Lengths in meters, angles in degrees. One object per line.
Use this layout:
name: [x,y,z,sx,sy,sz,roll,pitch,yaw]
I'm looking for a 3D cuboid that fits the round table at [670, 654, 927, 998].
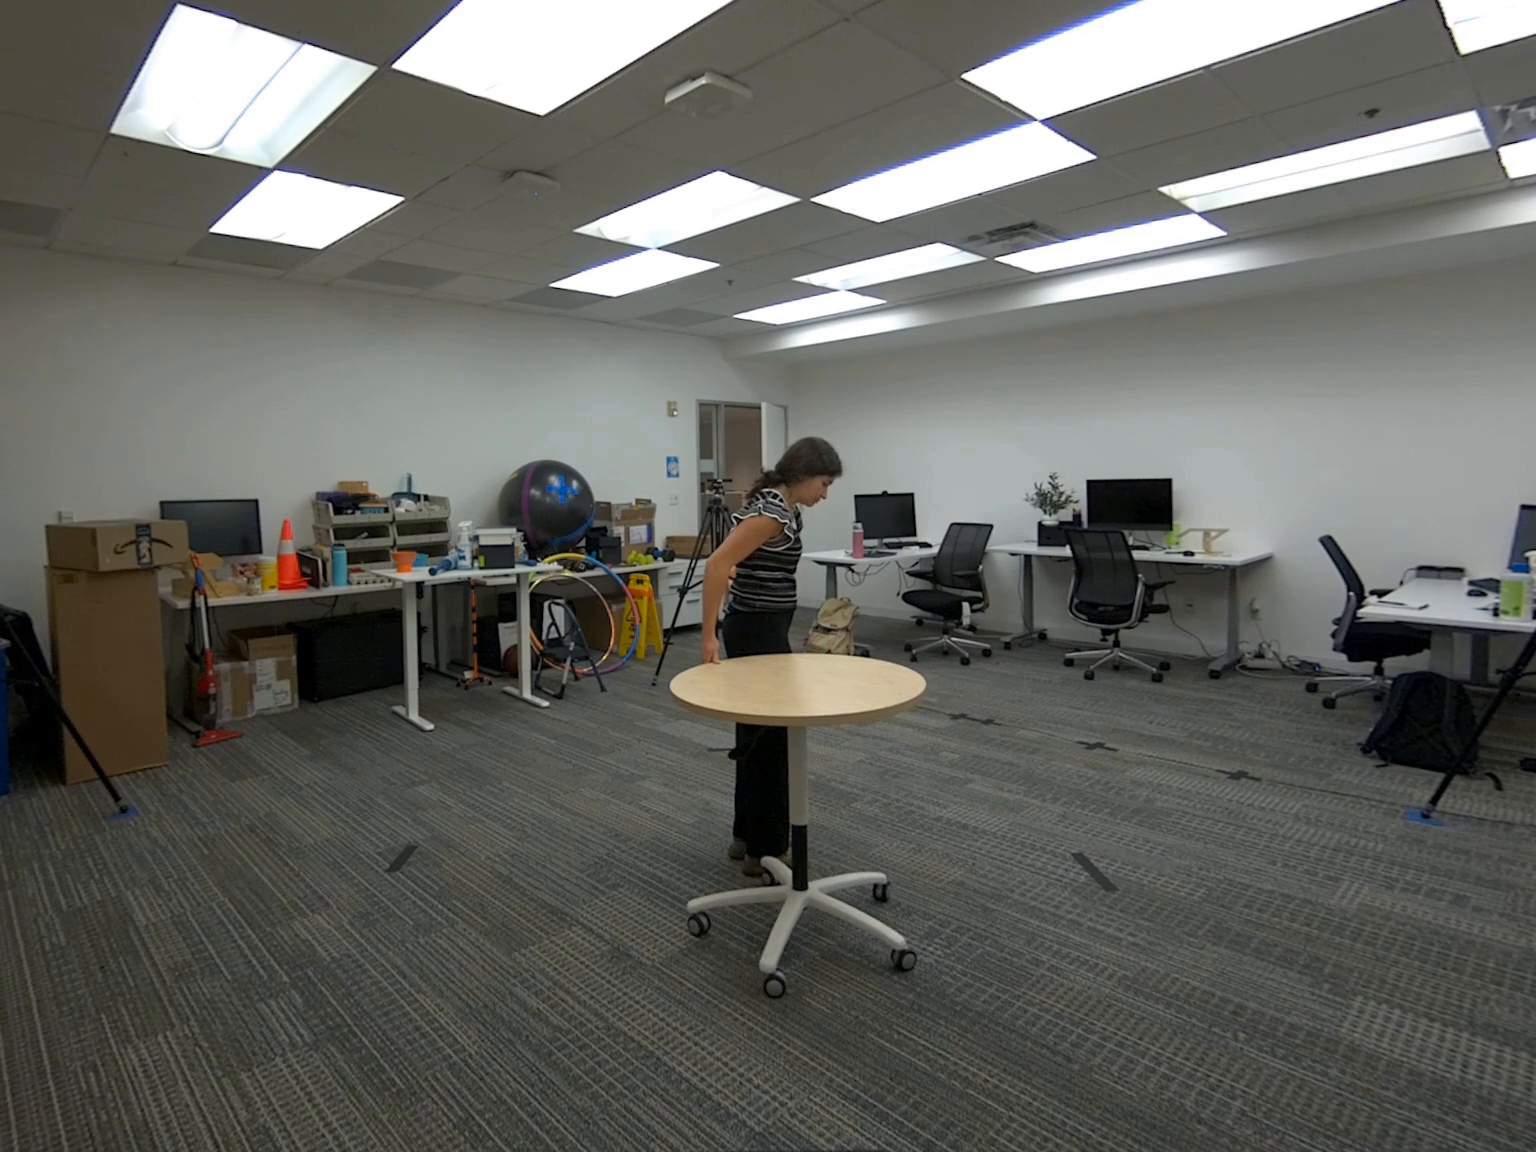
round table: [0.098,0.706,2.617,0.784,0.783,0.790,-1,6,-2]
